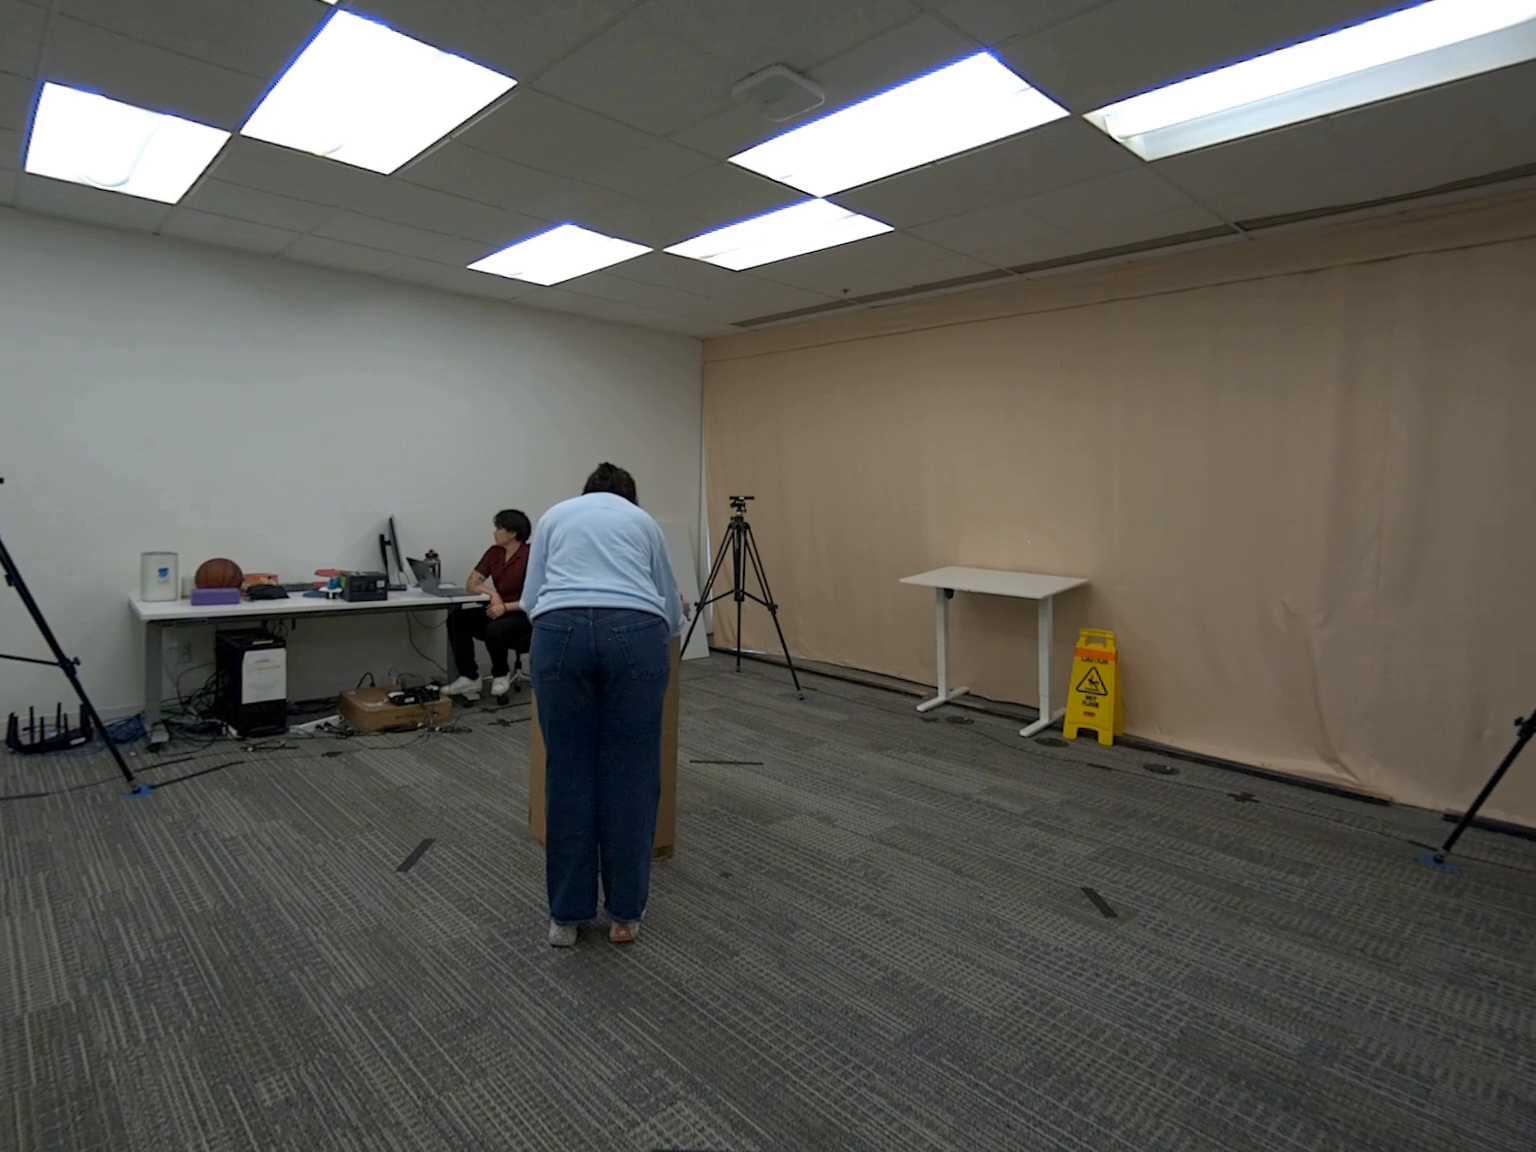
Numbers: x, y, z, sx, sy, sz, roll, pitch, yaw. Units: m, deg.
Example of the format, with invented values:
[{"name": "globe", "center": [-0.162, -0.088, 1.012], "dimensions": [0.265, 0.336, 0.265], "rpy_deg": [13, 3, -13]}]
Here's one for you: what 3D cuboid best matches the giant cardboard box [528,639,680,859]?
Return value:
[{"name": "giant cardboard box", "center": [-0.678, 0.564, 3.385], "dimensions": [0.417, 1.024, 0.590], "rpy_deg": [0, 3, -31]}]
